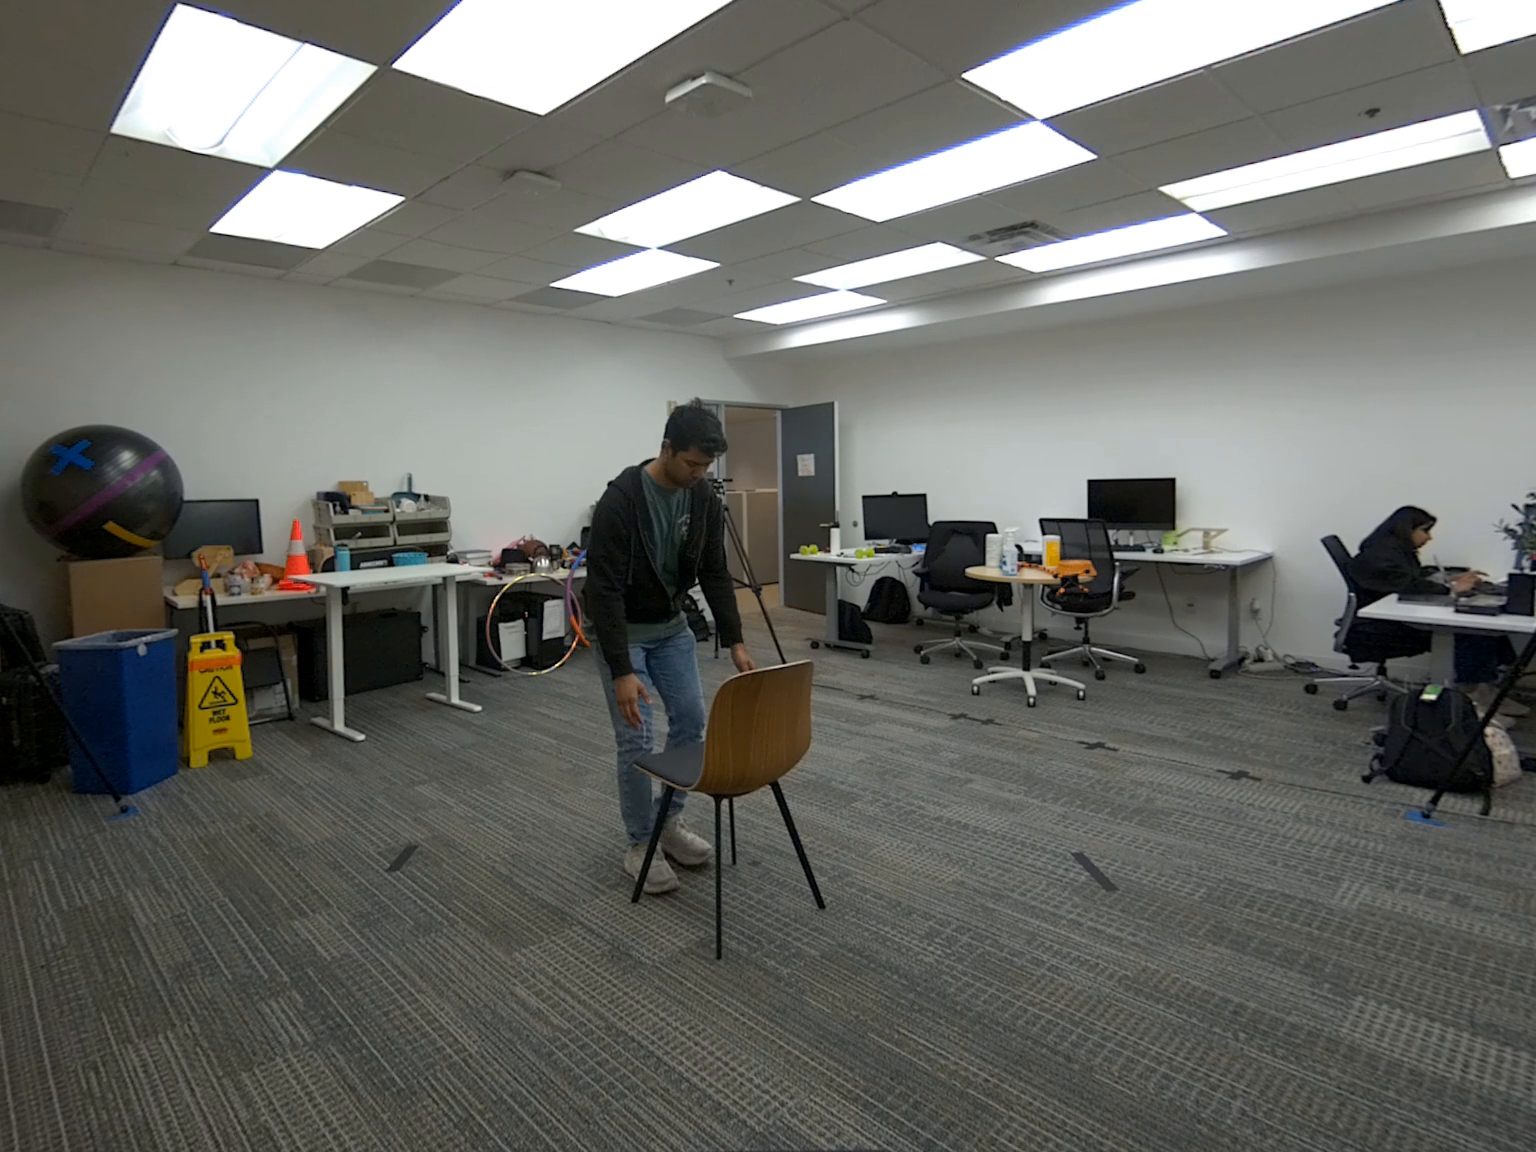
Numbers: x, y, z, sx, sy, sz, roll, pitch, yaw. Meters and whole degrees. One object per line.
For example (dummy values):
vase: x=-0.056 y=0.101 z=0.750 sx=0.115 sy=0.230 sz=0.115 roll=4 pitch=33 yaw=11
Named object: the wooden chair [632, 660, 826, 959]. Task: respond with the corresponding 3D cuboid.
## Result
wooden chair: x=-0.138 y=0.659 z=2.773 sx=0.466 sy=0.871 sz=0.540 roll=-5 pitch=10 yaw=-40
